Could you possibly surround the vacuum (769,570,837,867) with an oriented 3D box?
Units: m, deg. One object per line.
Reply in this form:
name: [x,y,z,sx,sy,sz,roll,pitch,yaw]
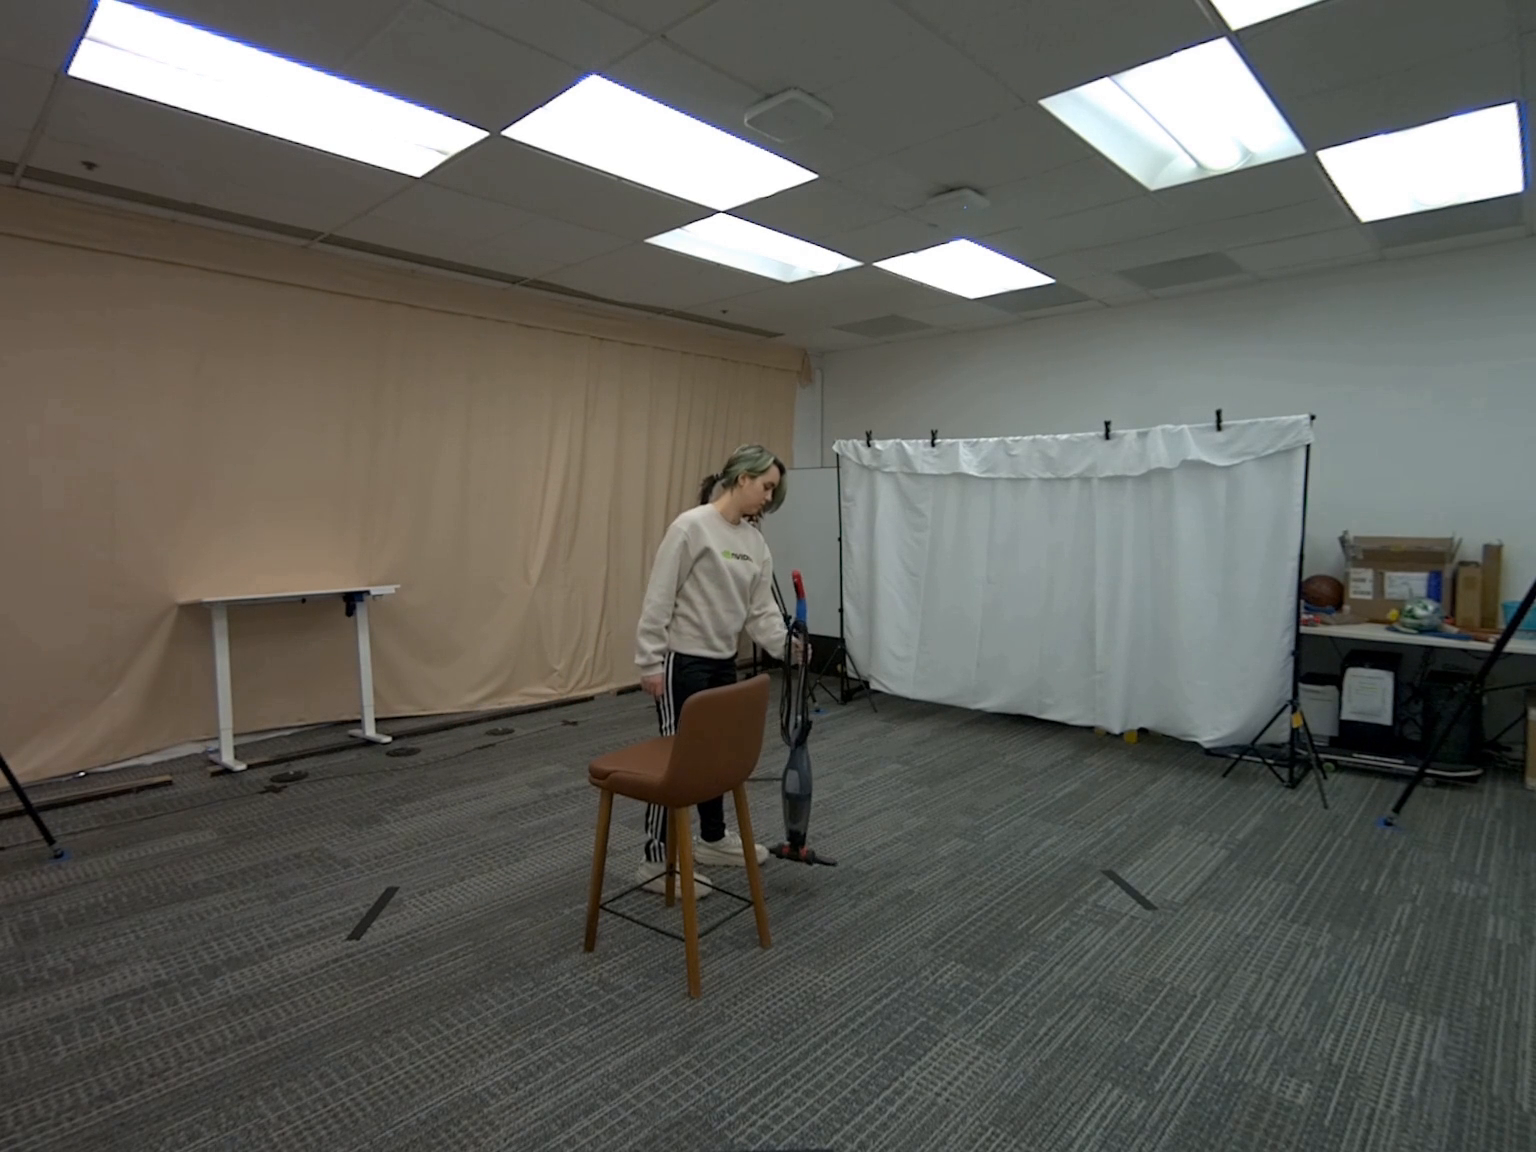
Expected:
vacuum: [0.111,0.523,2.973,0.260,1.043,0.140,4,10,31]
